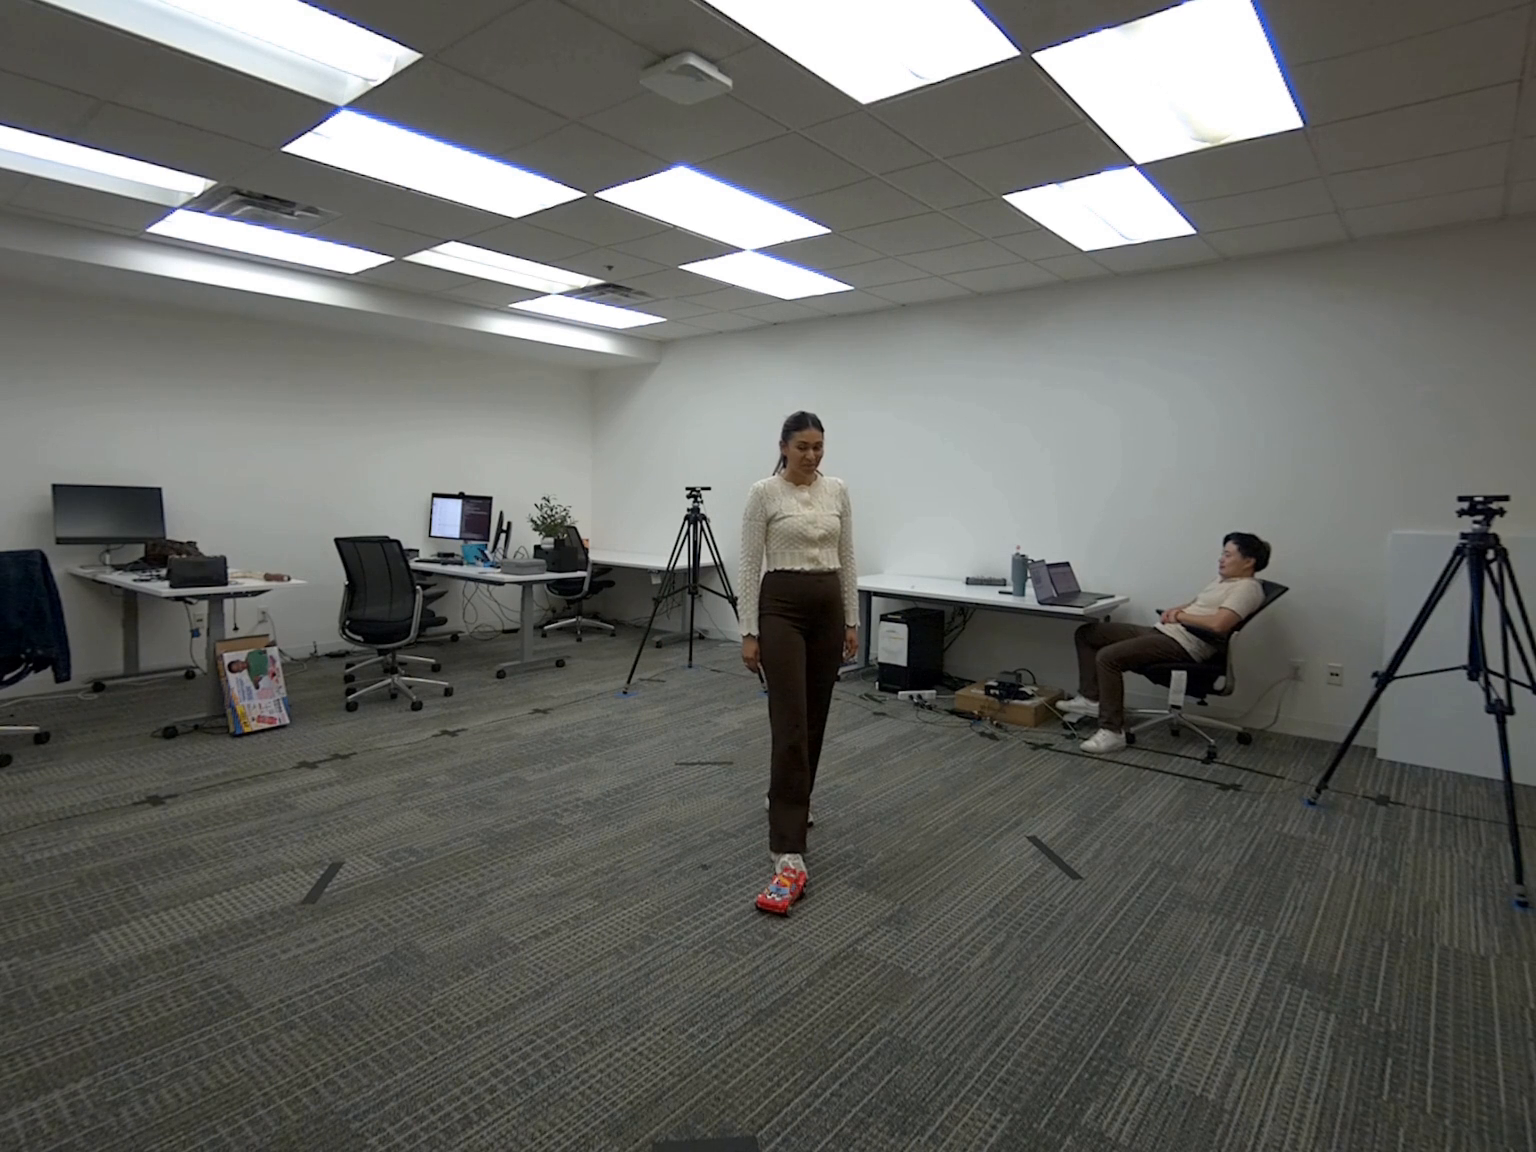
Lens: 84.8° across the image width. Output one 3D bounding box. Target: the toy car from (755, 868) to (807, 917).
[{"bbox_3d":[0.049,1.067,2.868,0.133,0.082,0.252,2,16,24],"label":"toy car"}]
